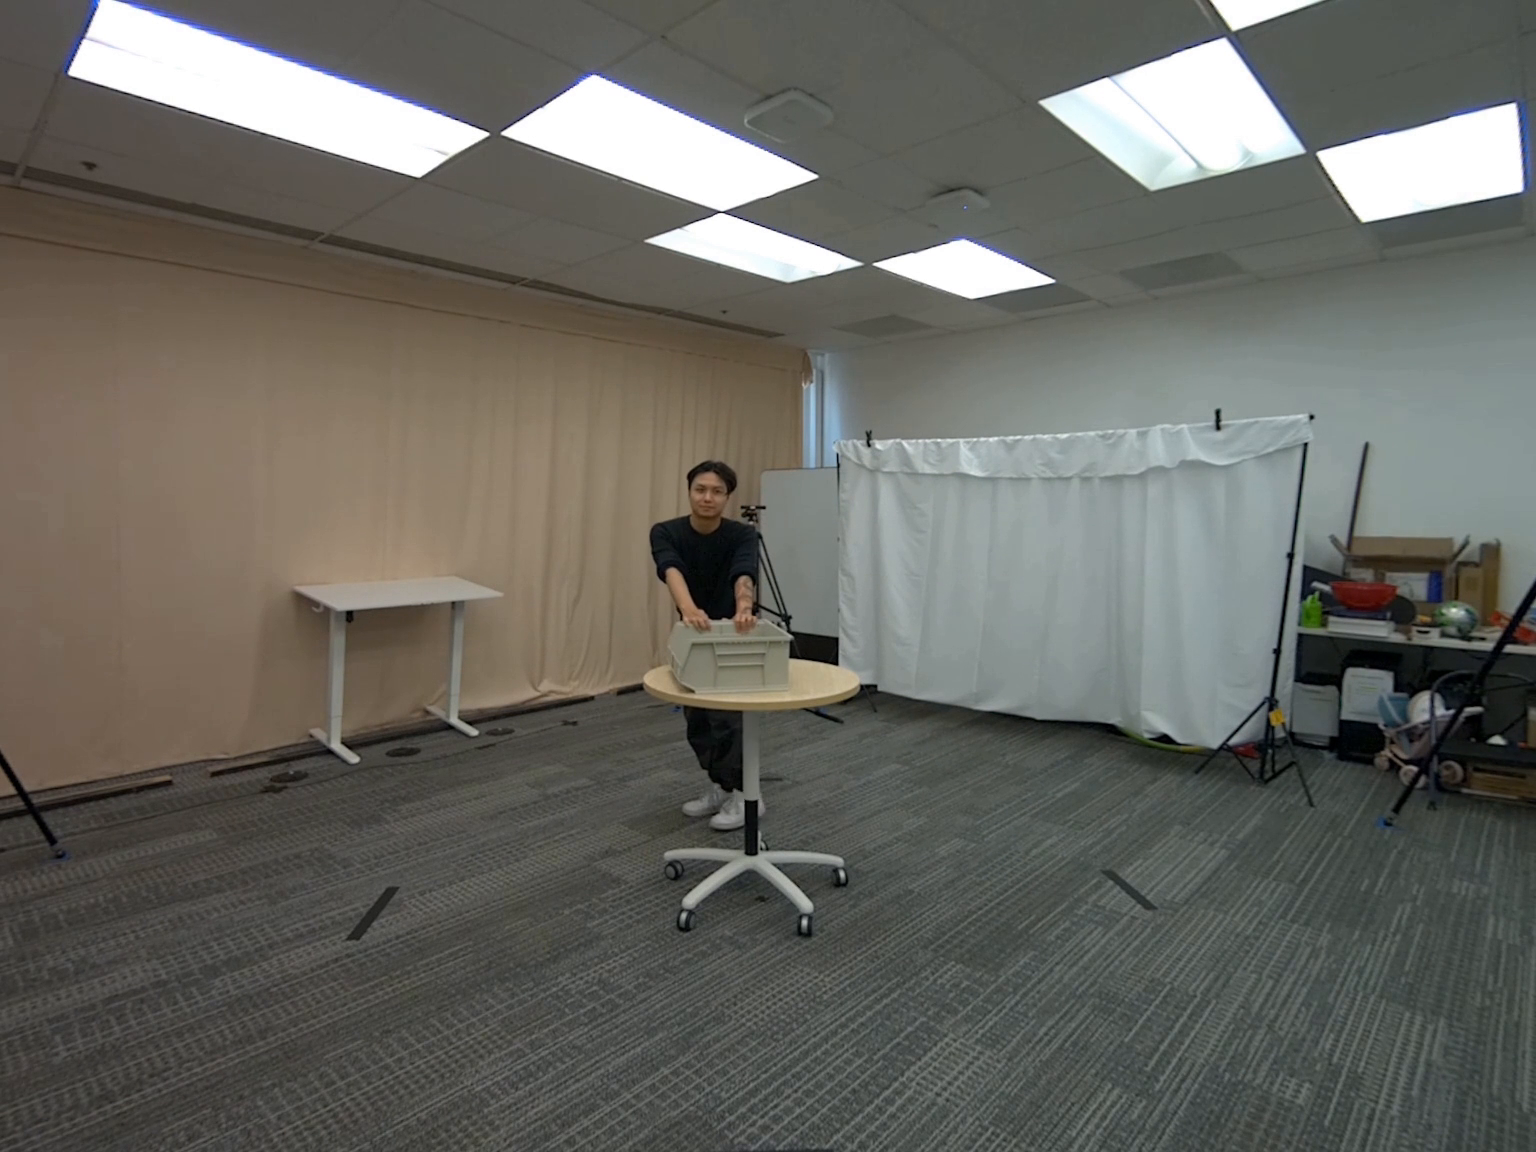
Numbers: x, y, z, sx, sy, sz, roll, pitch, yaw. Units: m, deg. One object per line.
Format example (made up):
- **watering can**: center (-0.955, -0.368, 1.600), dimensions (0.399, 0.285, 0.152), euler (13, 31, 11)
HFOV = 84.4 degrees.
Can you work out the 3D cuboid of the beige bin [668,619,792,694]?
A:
- **beige bin**: center (-0.149, 0.274, 2.944), dimensions (0.373, 0.188, 0.428), euler (0, 4, -10)
